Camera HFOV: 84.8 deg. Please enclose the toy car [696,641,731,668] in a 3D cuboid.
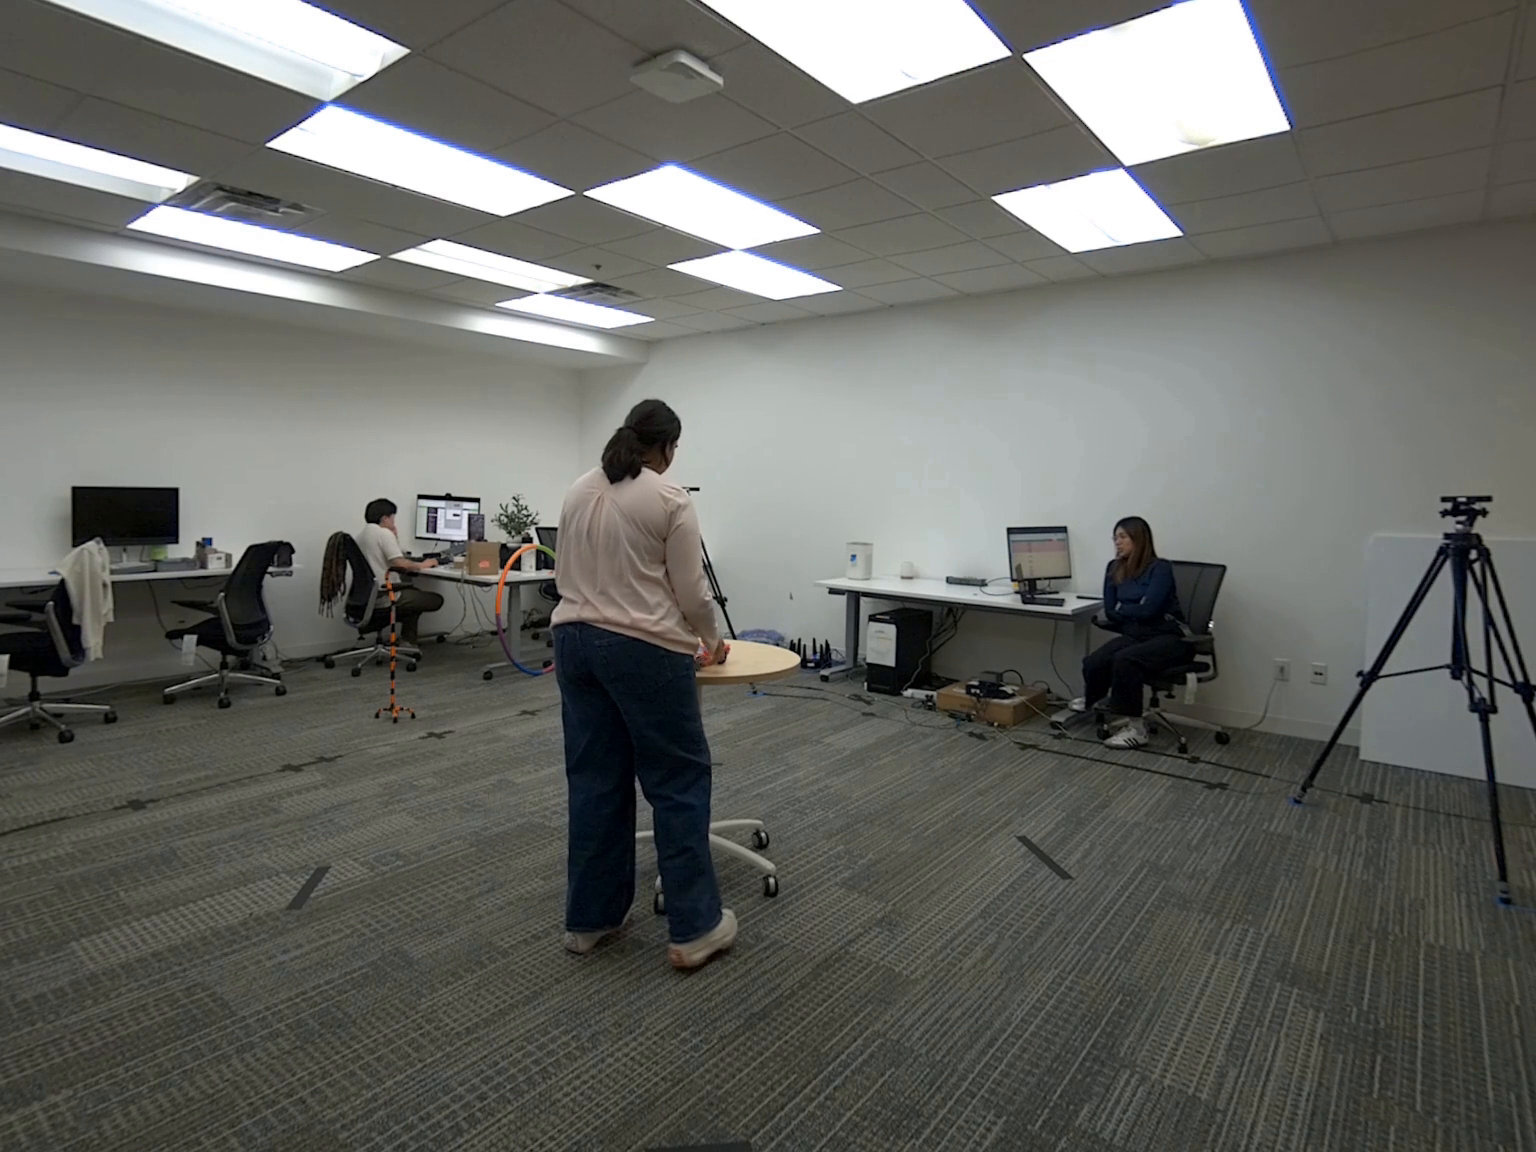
[{"bbox_3d":[-0.235,0.267,2.918,0.134,0.082,0.250,5,18,32],"label":"toy car"}]
